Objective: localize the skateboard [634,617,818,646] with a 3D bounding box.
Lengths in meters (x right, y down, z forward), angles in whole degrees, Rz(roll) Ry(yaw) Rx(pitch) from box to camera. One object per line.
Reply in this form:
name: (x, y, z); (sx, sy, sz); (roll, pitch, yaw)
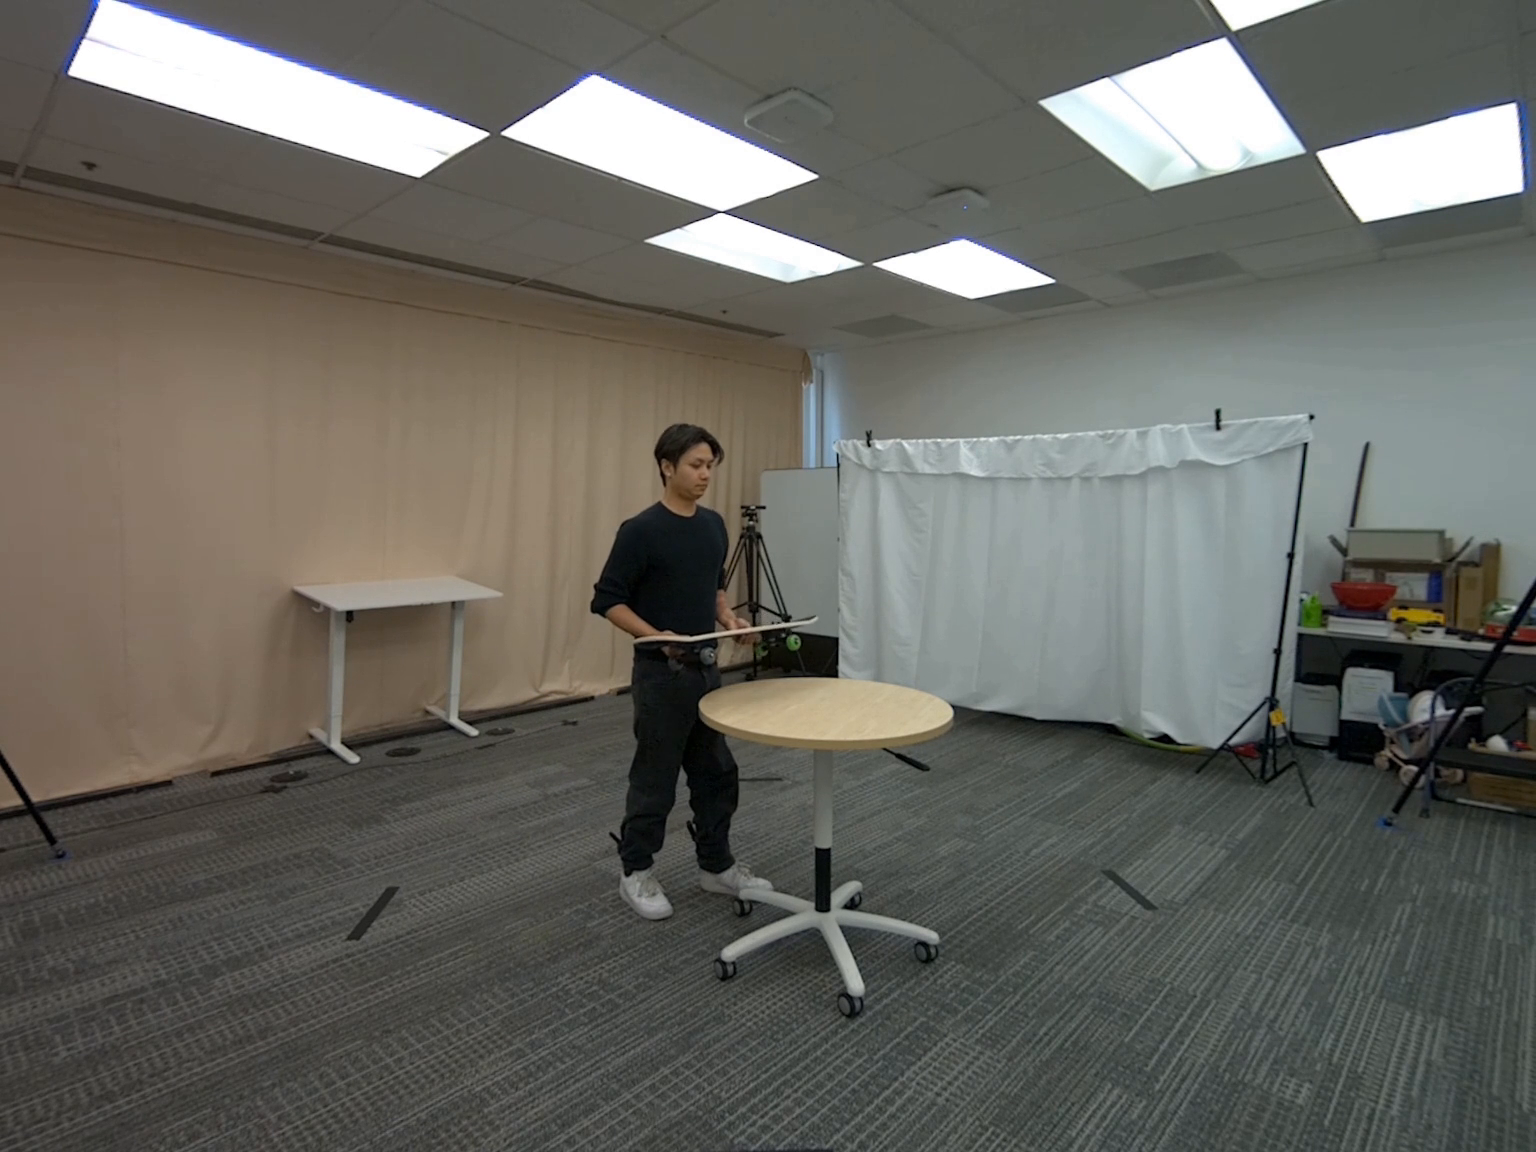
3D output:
skateboard: (-0.105, 0.224, 2.764); (0.761, 0.111, 0.198); (-4, -10, -45)
